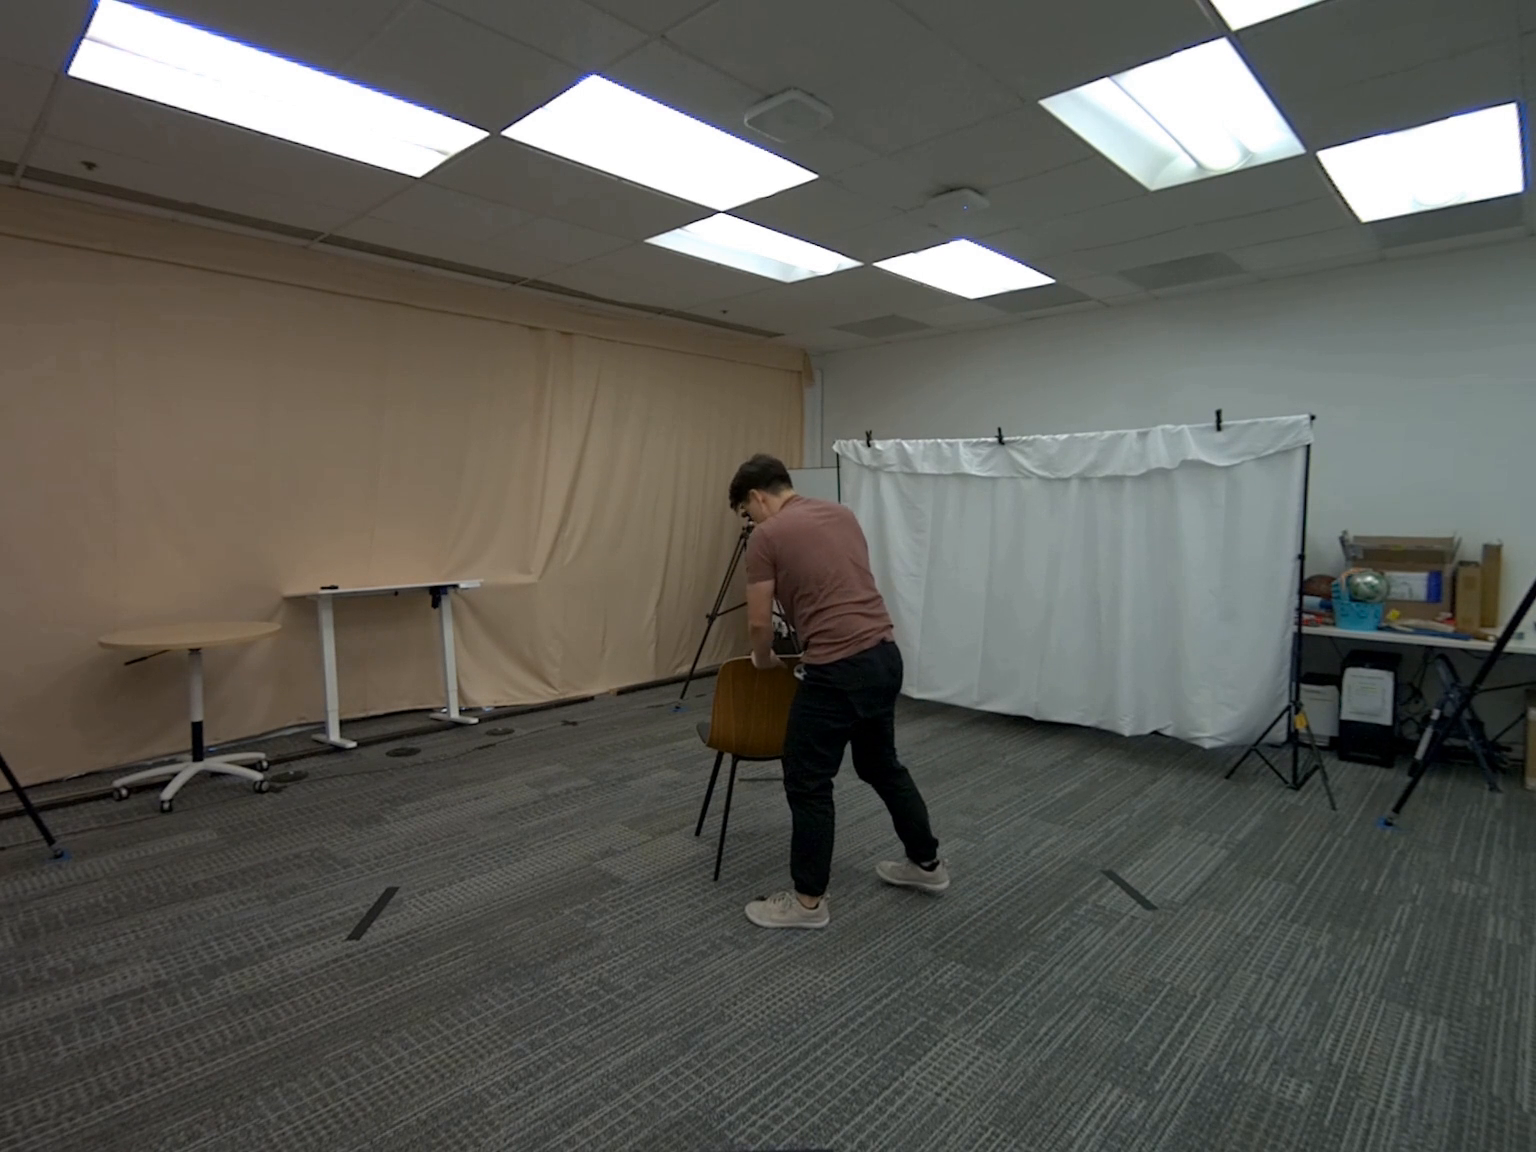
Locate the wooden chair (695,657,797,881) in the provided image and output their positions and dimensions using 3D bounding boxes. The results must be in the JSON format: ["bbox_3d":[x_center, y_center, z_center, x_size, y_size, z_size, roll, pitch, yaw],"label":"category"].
[{"bbox_3d":[-0.041,0.685,3.361,0.472,0.873,0.532,-2,8,-12],"label":"wooden chair"}]
